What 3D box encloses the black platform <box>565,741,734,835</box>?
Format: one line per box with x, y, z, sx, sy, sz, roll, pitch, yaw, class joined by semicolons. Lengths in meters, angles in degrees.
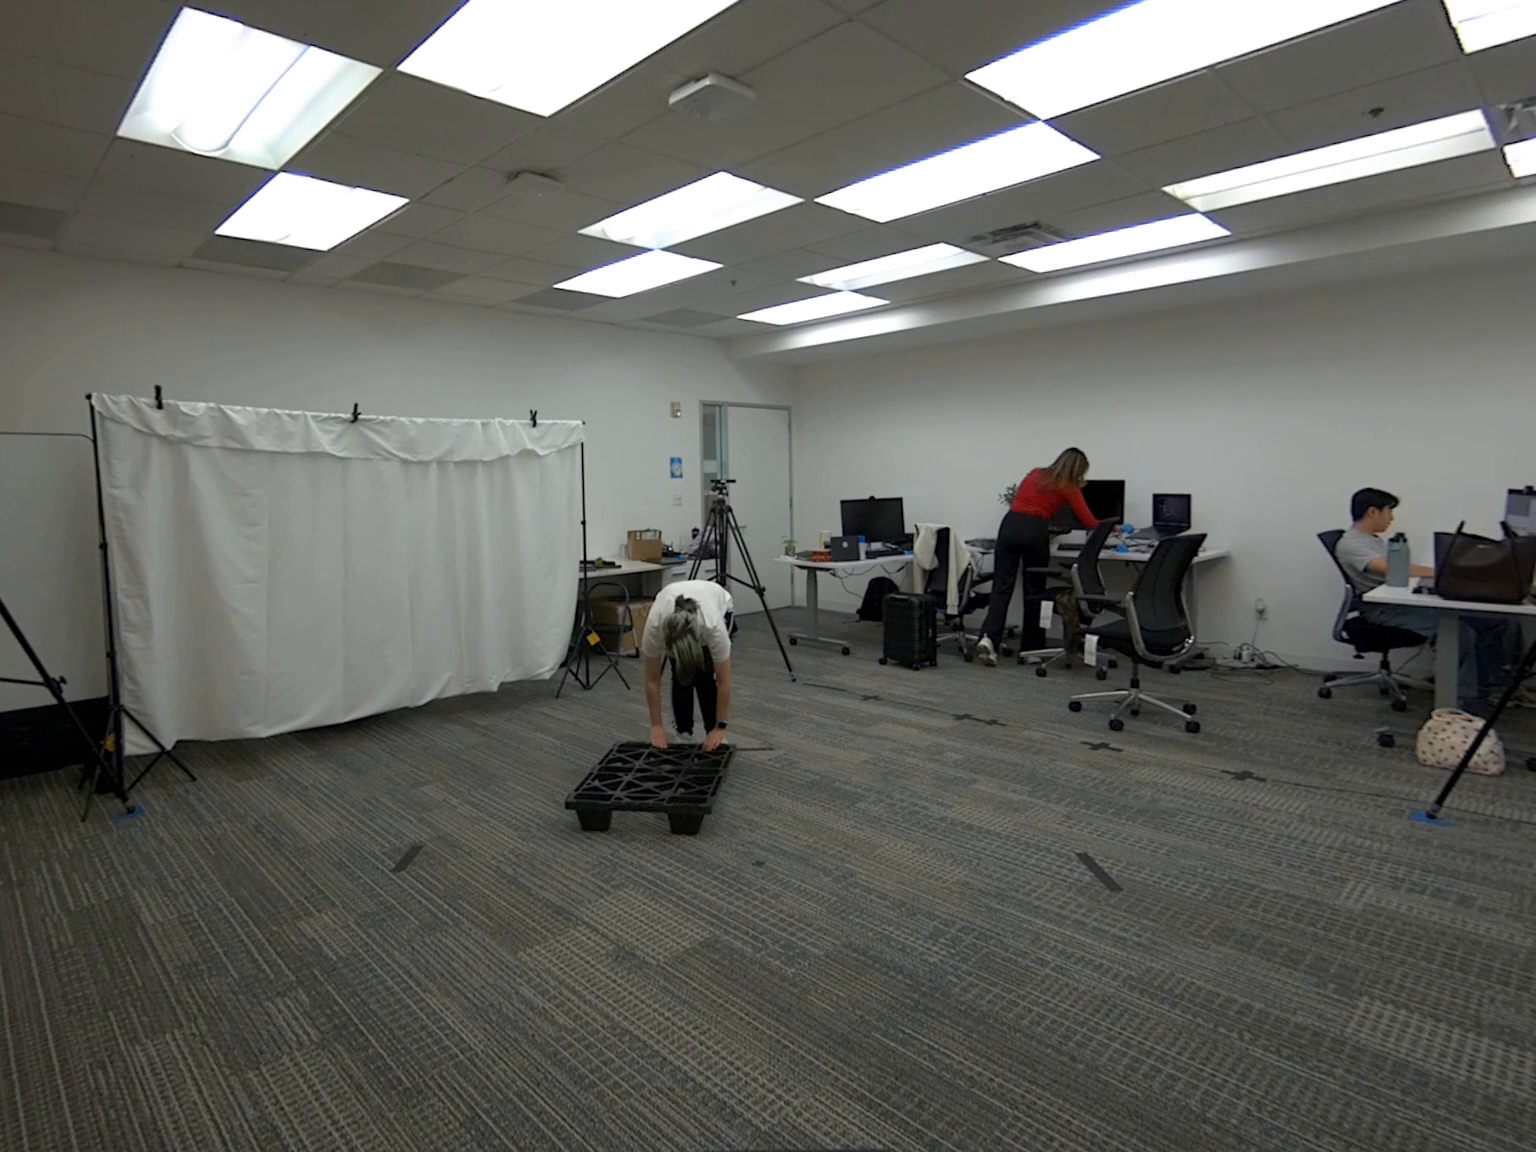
-0.484;0.918;3.756;0.610;0.143;0.802;-1;6;7;black platform
